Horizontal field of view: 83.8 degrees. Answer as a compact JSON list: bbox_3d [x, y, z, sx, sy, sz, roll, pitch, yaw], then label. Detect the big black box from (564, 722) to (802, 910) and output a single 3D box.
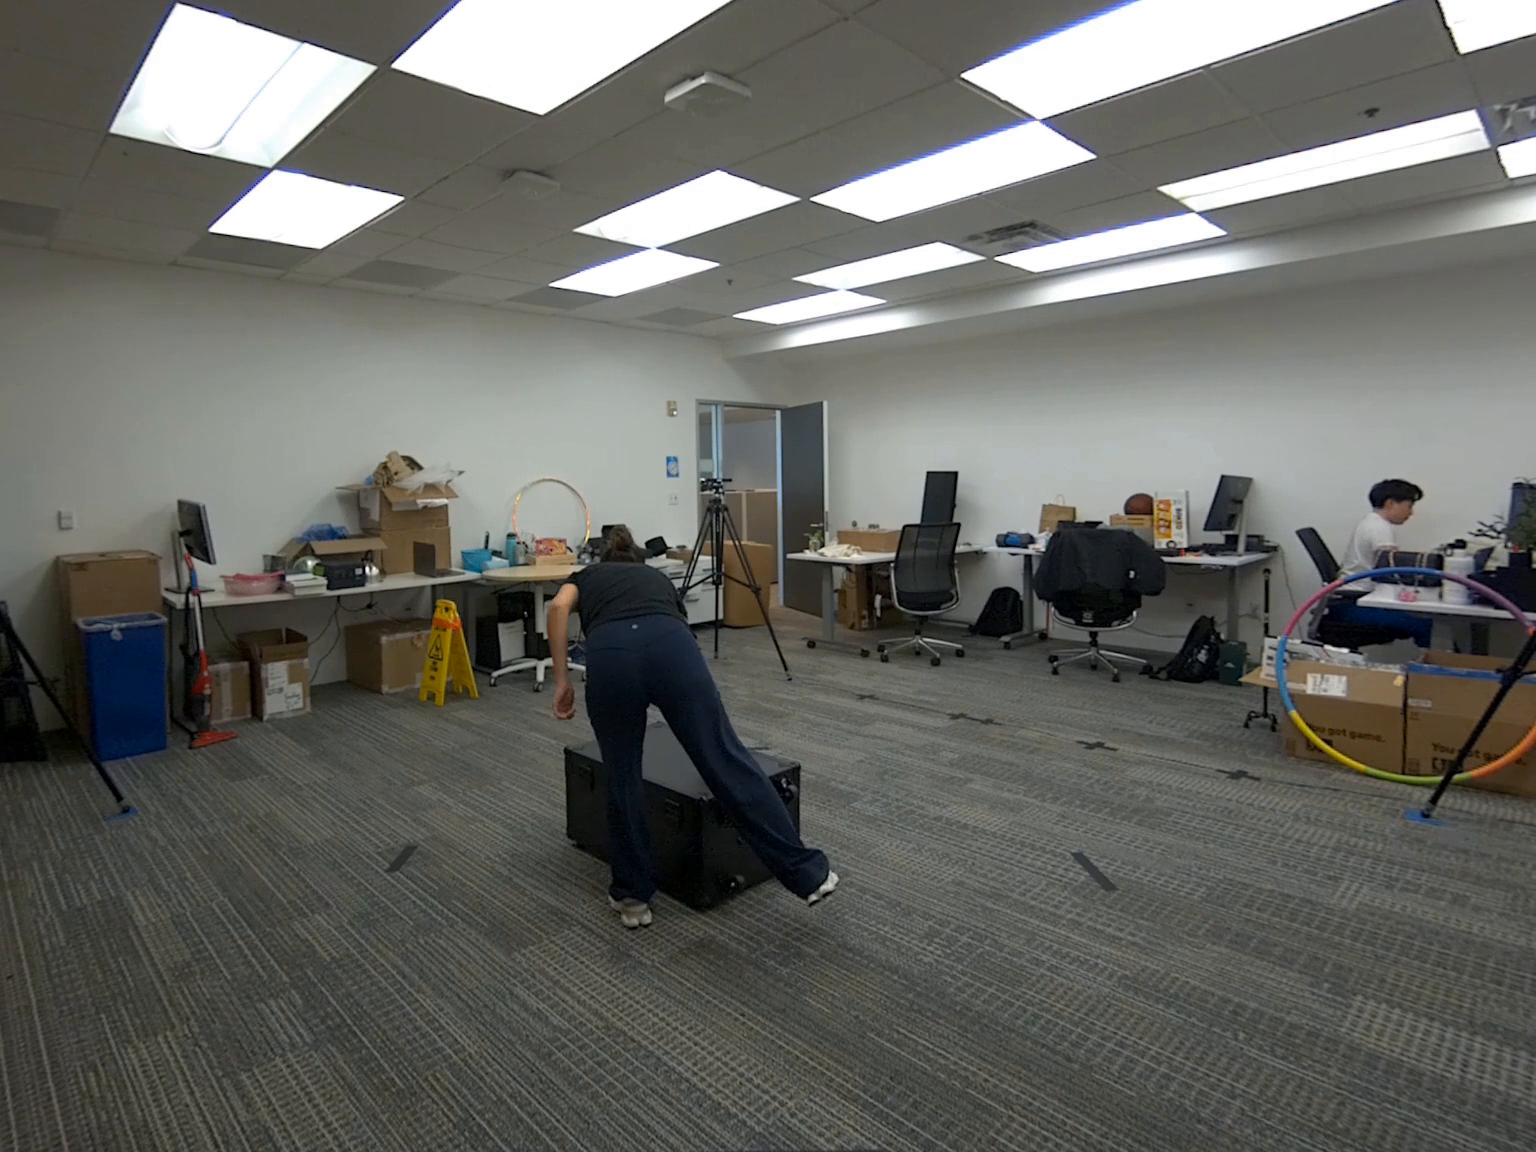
[{"bbox_3d":[-0.304,0.832,3.166,0.889,0.394,0.508,6,9,44],"label":"big black box"}]
